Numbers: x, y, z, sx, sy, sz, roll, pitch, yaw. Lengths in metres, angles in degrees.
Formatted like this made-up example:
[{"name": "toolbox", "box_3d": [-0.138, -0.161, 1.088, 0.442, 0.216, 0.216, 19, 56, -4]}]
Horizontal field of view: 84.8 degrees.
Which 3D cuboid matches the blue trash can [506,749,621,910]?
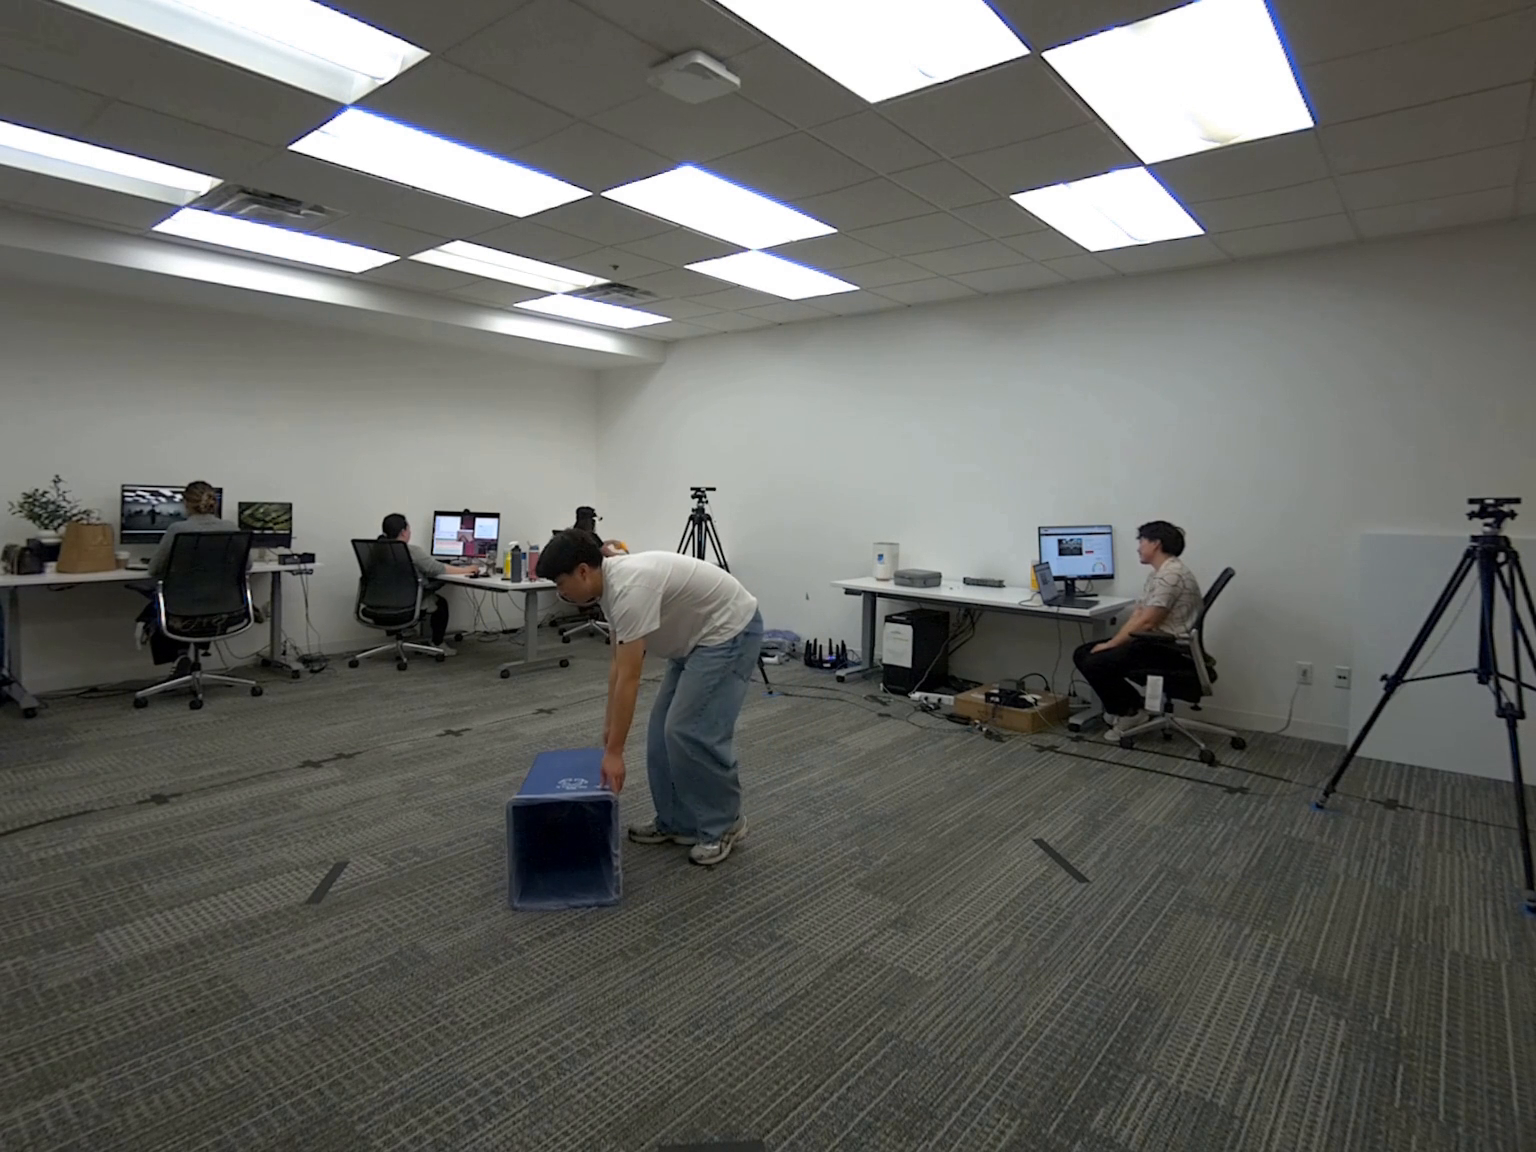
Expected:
[{"name": "blue trash can", "box_3d": [-0.749, 0.885, 3.137, 0.371, 0.378, 0.721, -1, 2, -10]}]
